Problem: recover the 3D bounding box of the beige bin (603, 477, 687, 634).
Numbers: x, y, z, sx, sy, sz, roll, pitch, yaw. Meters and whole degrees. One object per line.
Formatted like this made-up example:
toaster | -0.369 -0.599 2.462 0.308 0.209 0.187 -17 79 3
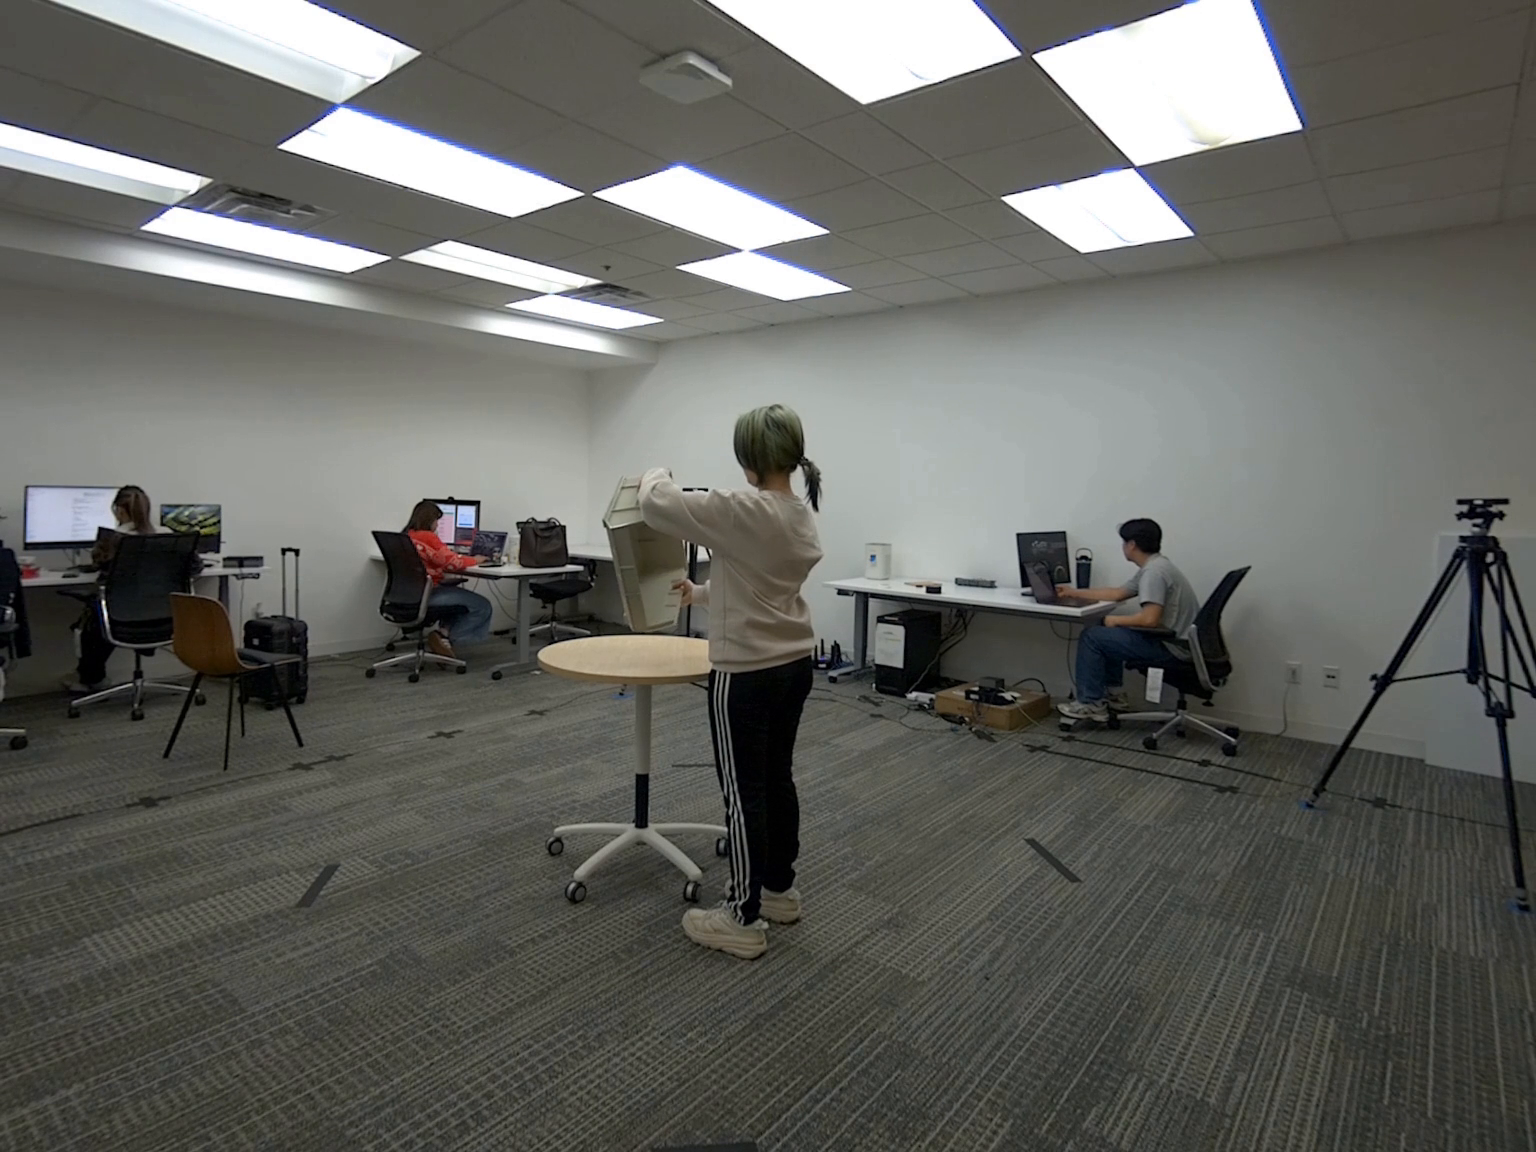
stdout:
beige bin | -0.423 -0.093 2.901 0.190 0.410 0.386 -4 32 6
